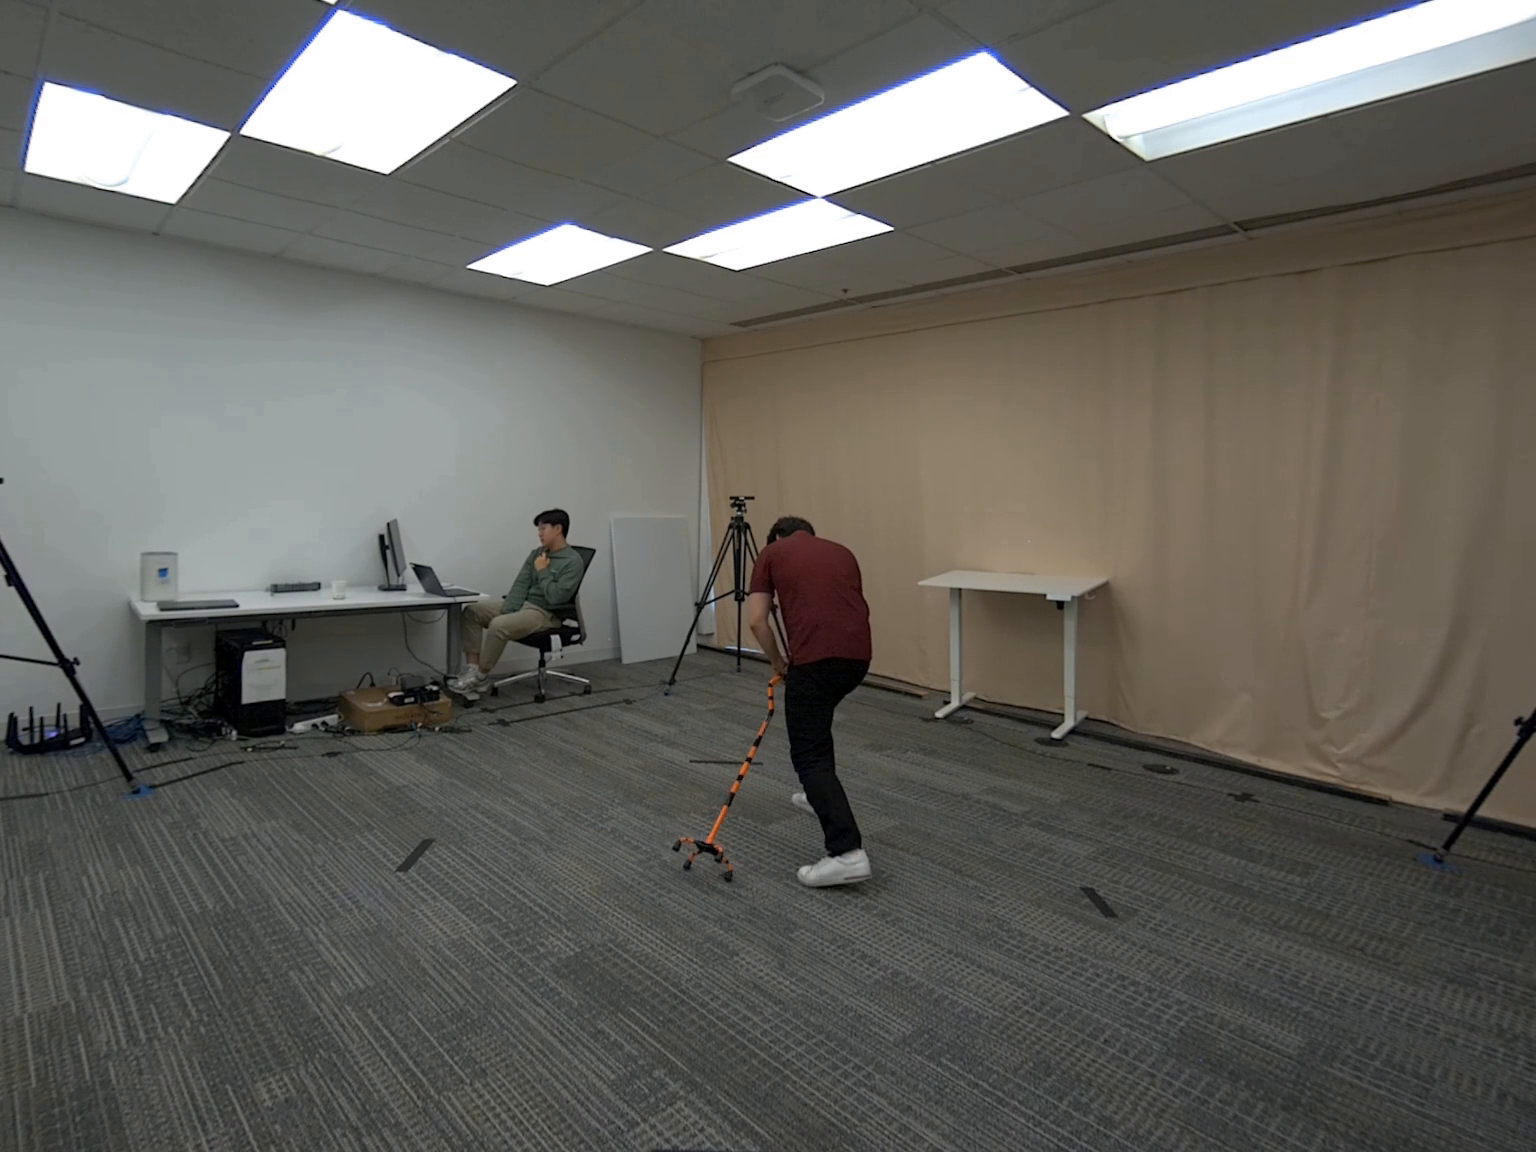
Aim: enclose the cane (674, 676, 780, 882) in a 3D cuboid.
[{"bbox_3d":[-0.089,0.749,3.353,0.210,0.147,0.914,3,42,26],"label":"cane"}]
